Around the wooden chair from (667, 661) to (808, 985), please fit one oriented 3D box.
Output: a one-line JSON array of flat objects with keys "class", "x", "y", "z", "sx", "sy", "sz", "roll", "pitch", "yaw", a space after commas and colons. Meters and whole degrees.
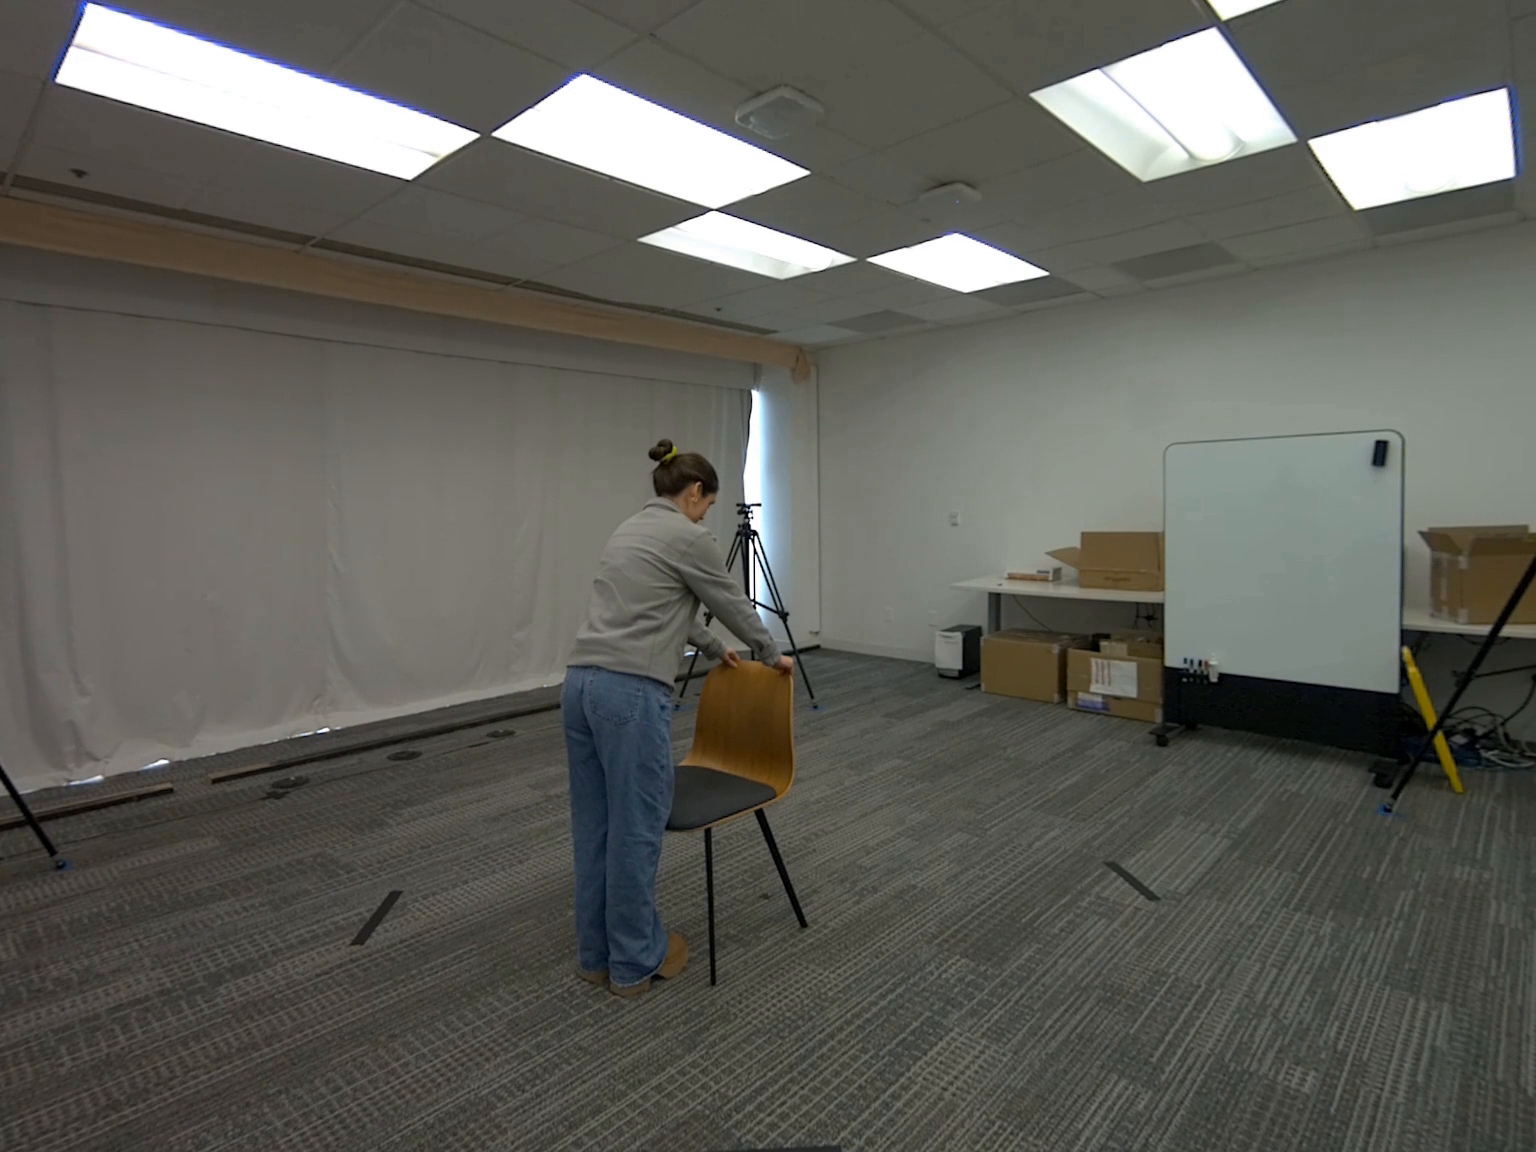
[{"class": "wooden chair", "x": -0.191, "y": 0.737, "z": 2.719, "sx": 0.494, "sy": 0.877, "sz": 0.506, "roll": 2, "pitch": 0, "yaw": 41}]
